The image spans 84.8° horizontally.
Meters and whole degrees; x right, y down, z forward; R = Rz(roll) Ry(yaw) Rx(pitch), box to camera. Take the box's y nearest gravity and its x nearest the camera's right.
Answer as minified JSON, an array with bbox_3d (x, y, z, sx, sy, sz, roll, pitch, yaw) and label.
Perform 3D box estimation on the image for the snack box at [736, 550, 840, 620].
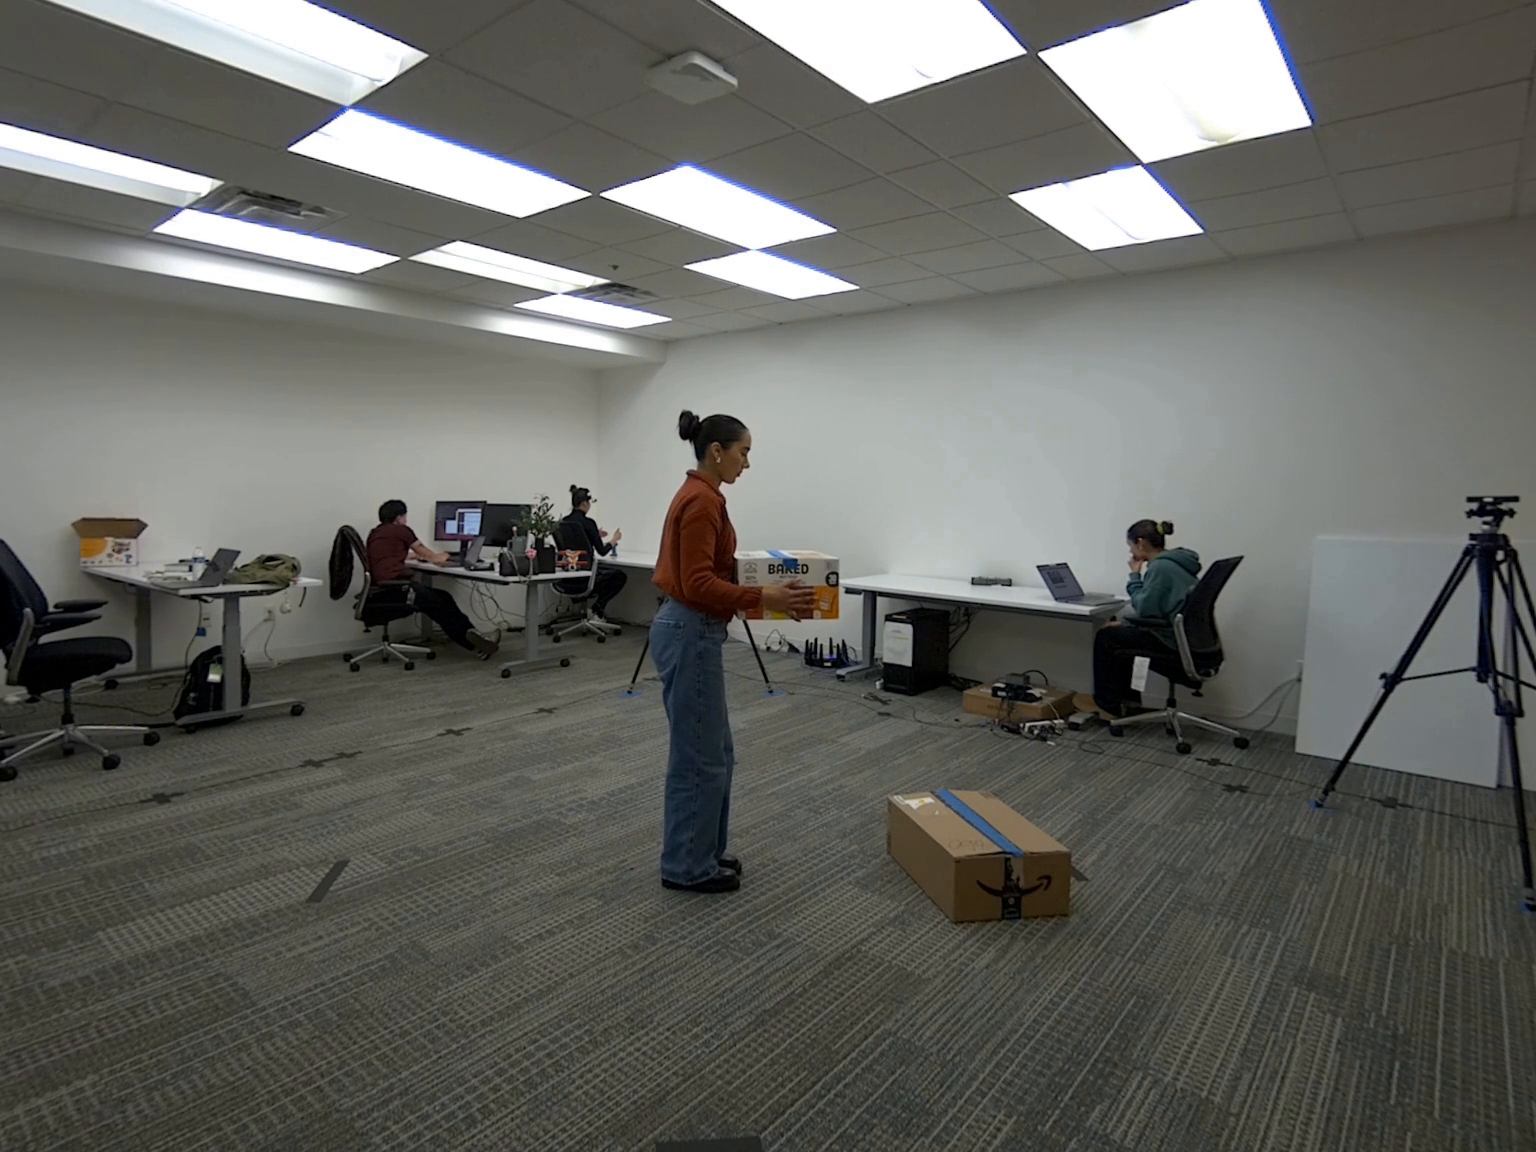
[{"bbox_3d":[0.027,0.025,2.987,0.338,0.205,0.409,0,5,-7],"label":"snack box"}]
